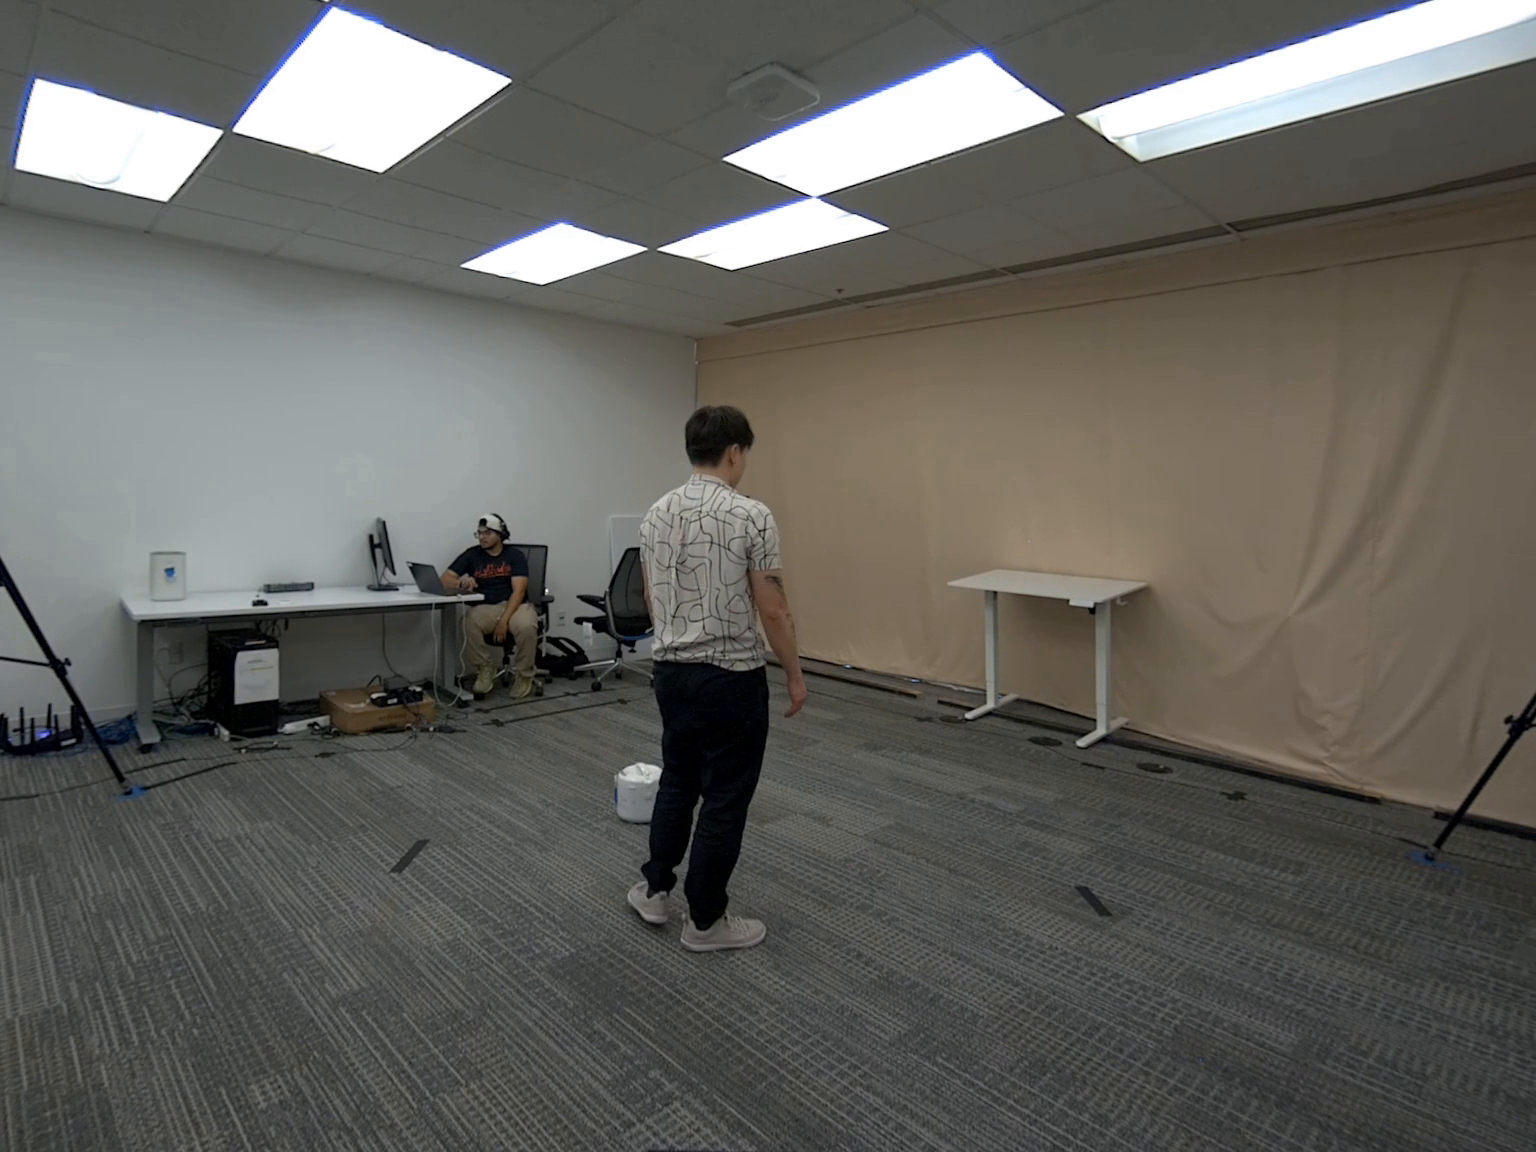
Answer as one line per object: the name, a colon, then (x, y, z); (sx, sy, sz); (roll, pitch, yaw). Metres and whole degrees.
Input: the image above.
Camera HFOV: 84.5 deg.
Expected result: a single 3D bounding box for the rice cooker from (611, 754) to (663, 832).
rice cooker: (-0.542, 0.927, 3.647); (0.214, 0.232, 0.225); (-2, 5, -22)
